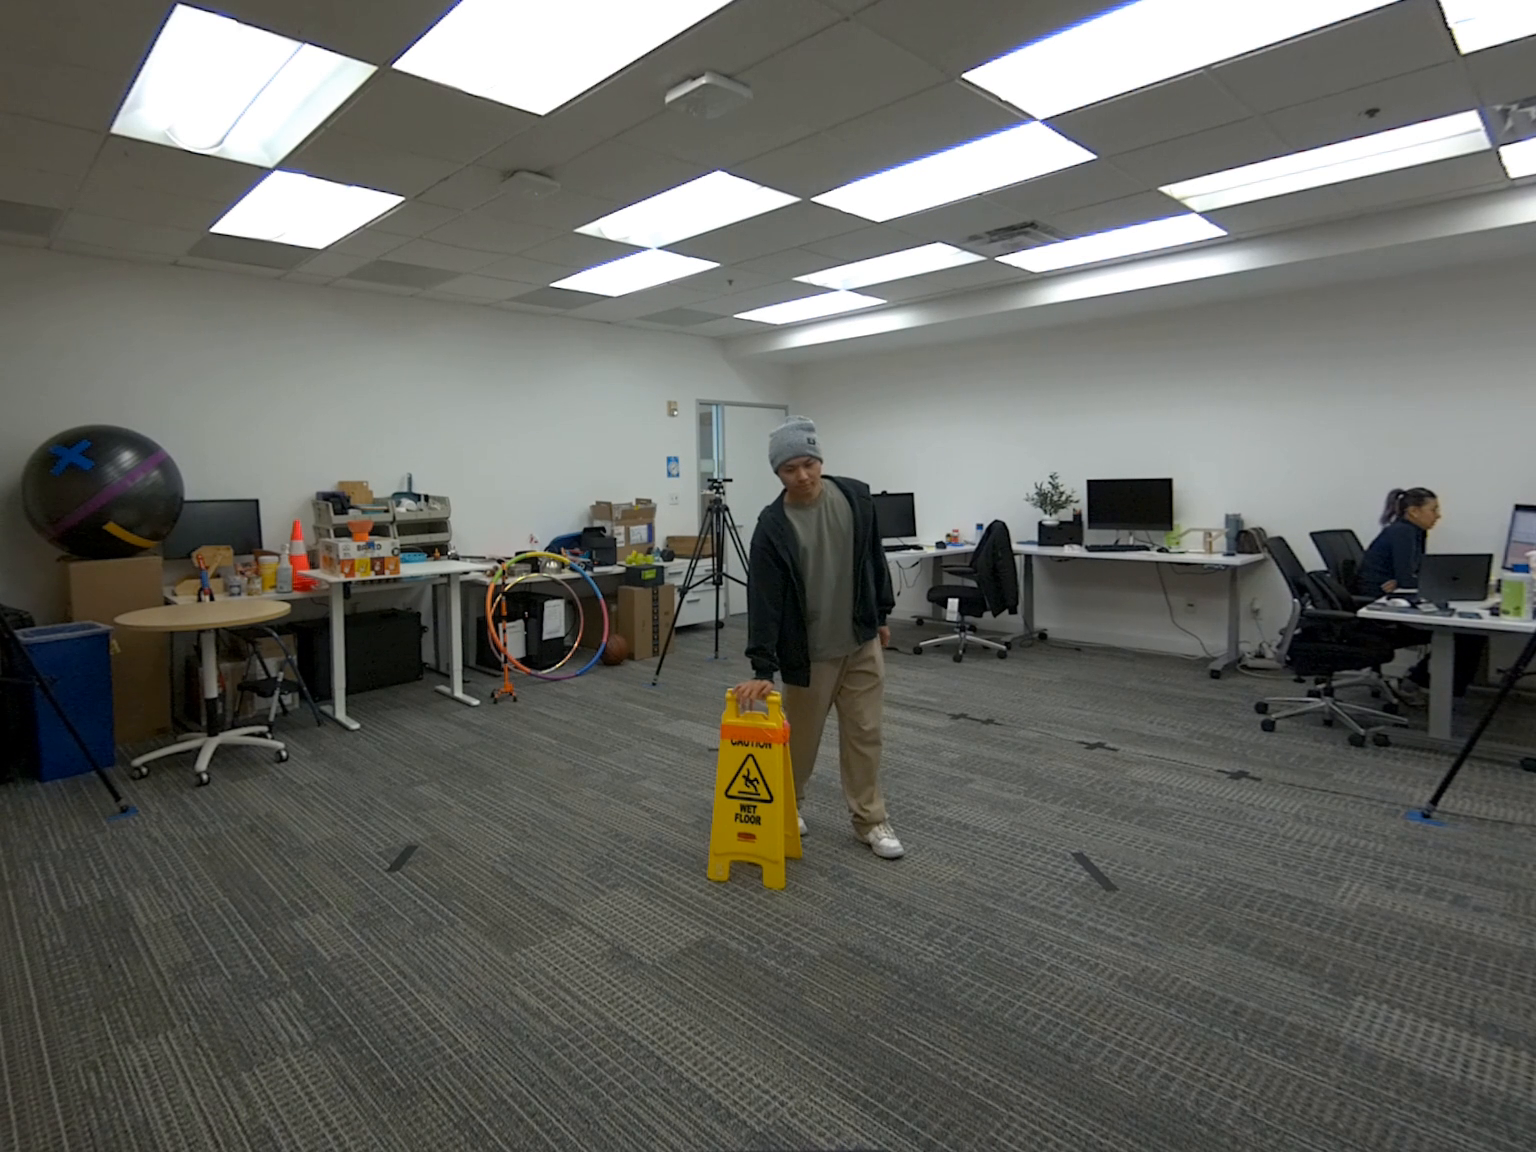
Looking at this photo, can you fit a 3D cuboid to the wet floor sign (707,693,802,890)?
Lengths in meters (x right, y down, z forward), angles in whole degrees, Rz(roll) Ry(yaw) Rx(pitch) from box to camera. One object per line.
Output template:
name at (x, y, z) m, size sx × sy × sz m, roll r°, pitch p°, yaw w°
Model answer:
wet floor sign at (-0.049, 0.725, 3.043) m, size 0.287 × 0.643 × 0.286 m, roll -1°, pitch 5°, yaw 17°
